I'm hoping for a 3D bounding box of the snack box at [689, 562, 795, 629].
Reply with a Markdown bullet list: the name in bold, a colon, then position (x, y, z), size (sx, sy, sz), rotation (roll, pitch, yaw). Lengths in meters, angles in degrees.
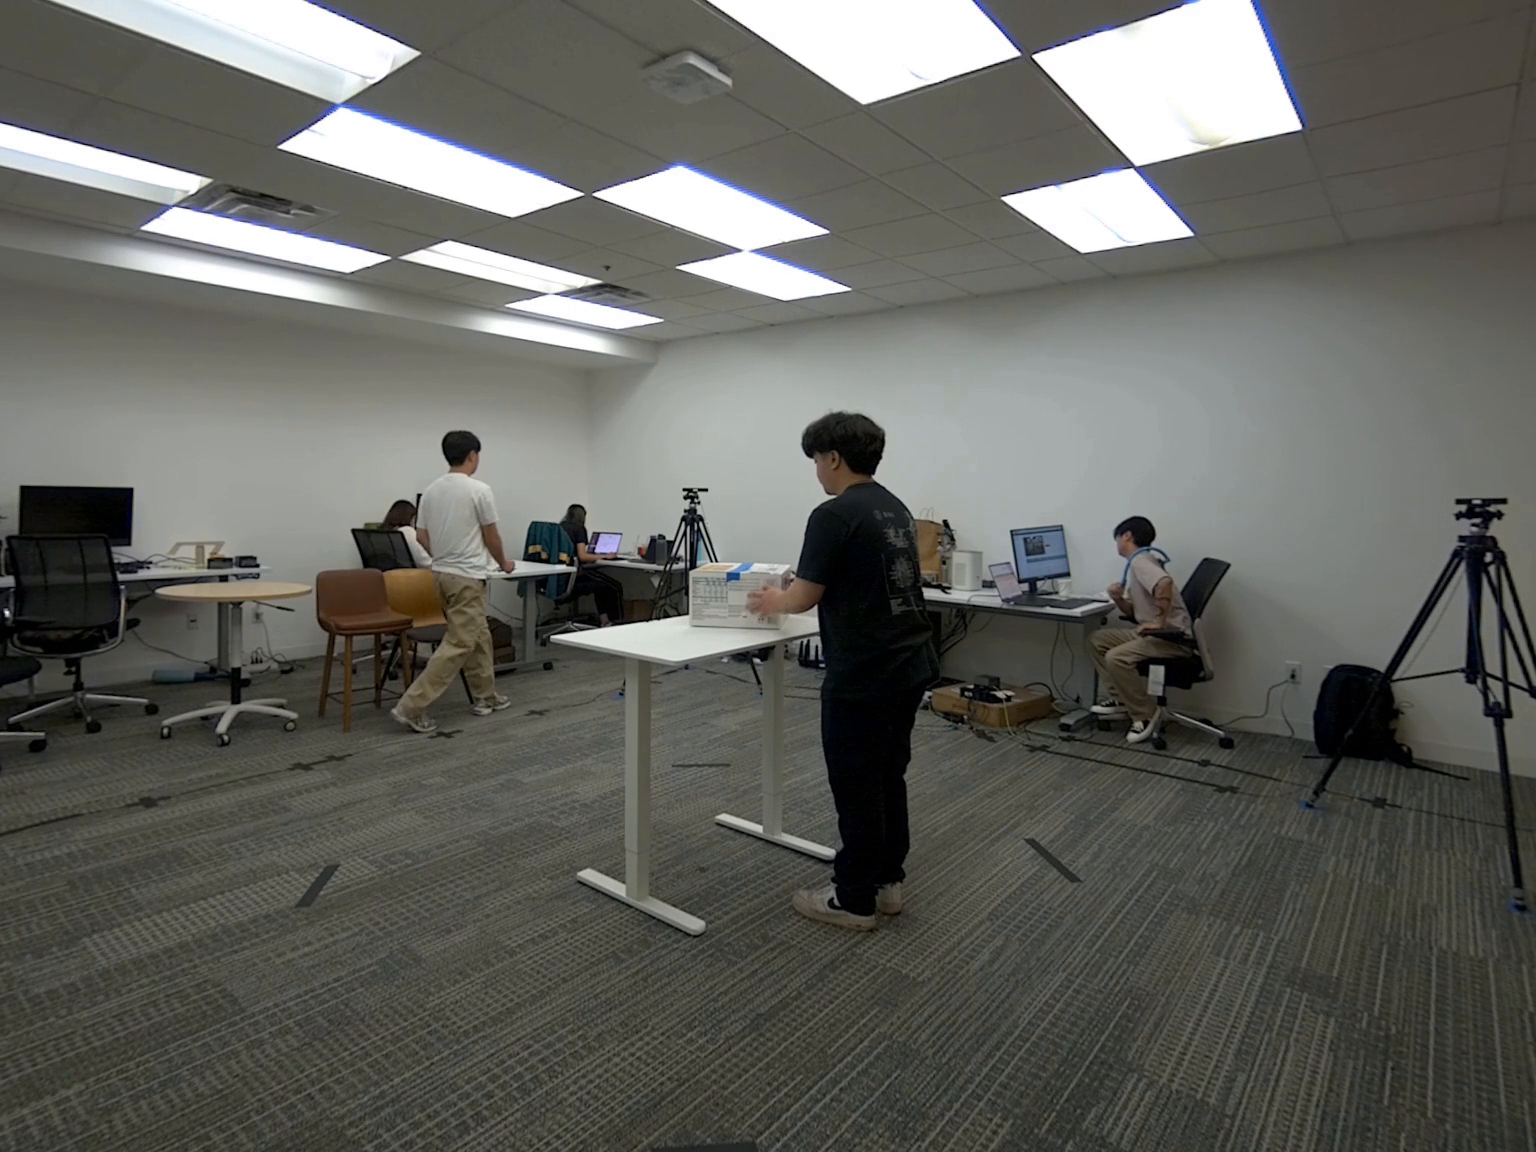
- **snack box**: position (-0.109, 0.067, 3.289), size (0.344, 0.205, 0.403), rotation (1, 5, 8)
